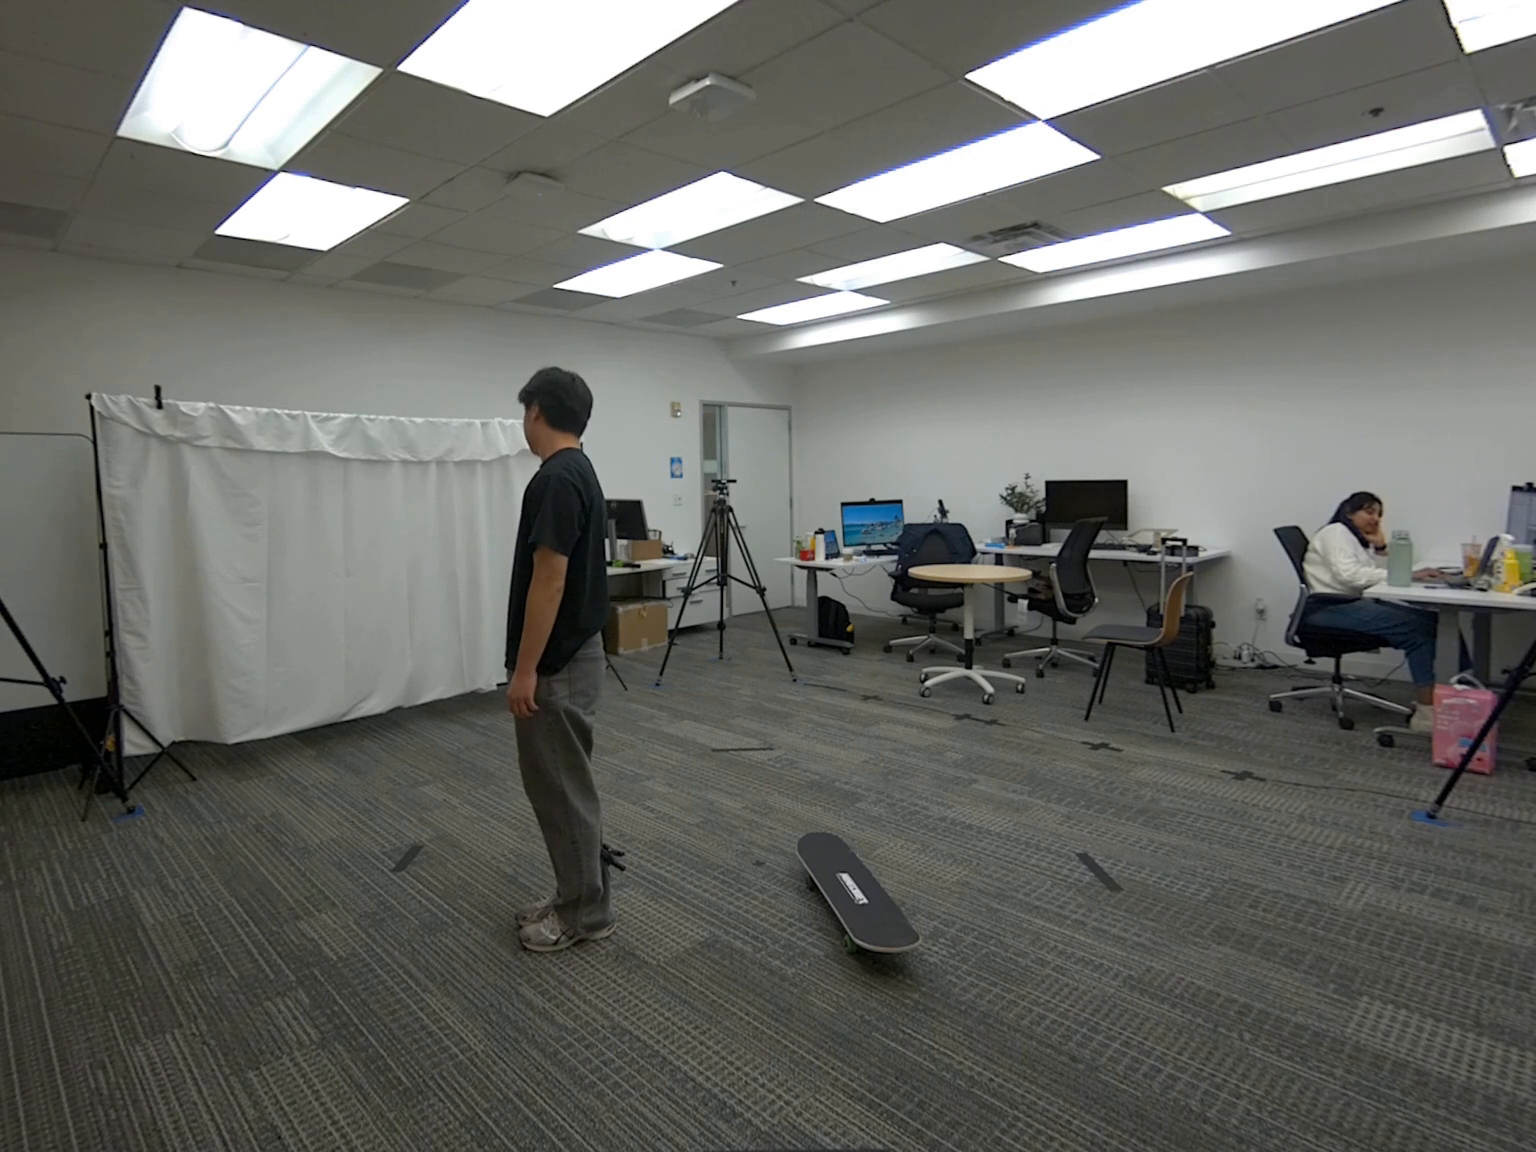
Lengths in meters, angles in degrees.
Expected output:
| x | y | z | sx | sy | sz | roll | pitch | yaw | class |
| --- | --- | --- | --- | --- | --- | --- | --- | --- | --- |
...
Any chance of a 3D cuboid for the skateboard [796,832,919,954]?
| x | y | z | sx | sy | sz | roll | pitch | yaw | class |
| --- | --- | --- | --- | --- | --- | --- | --- | --- | --- |
| 0.275 | 1.031 | 2.727 | 0.191 | 0.110 | 0.798 | -3 | 7 | -13 | skateboard |
